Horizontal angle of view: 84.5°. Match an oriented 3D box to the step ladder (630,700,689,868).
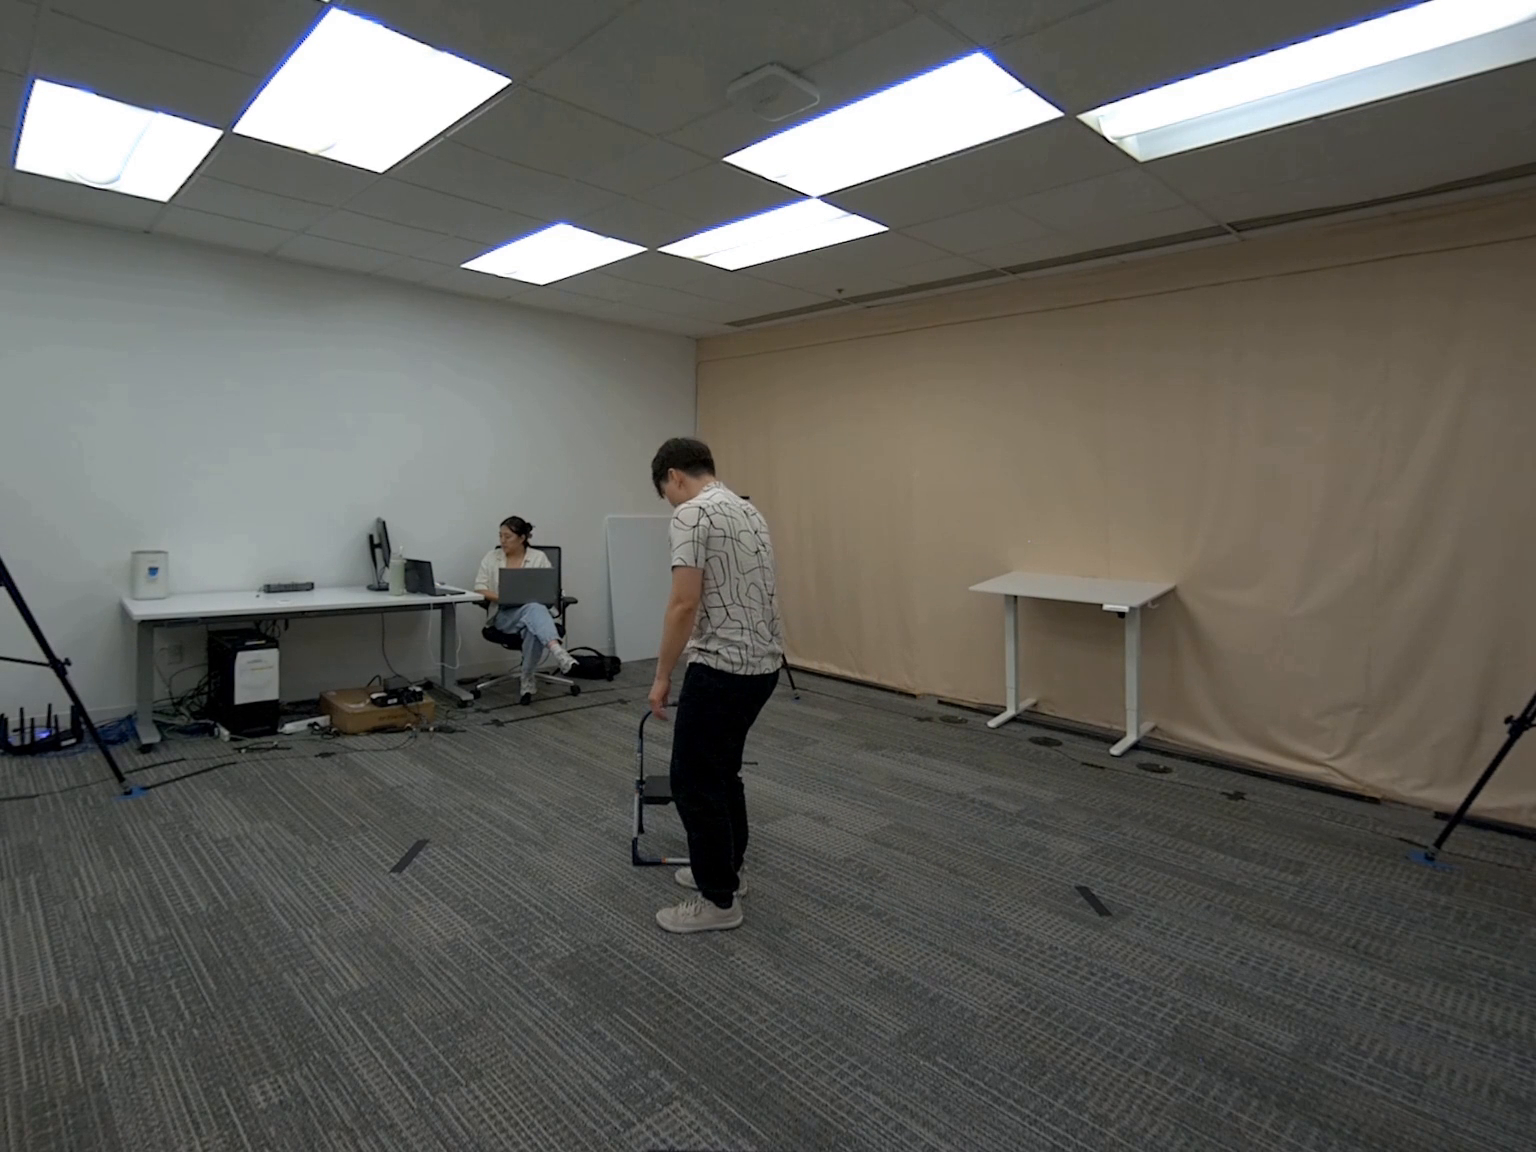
[{"bbox_3d":[-0.320,0.785,3.323,0.429,0.605,0.351,1,3,-5],"label":"step ladder"}]
